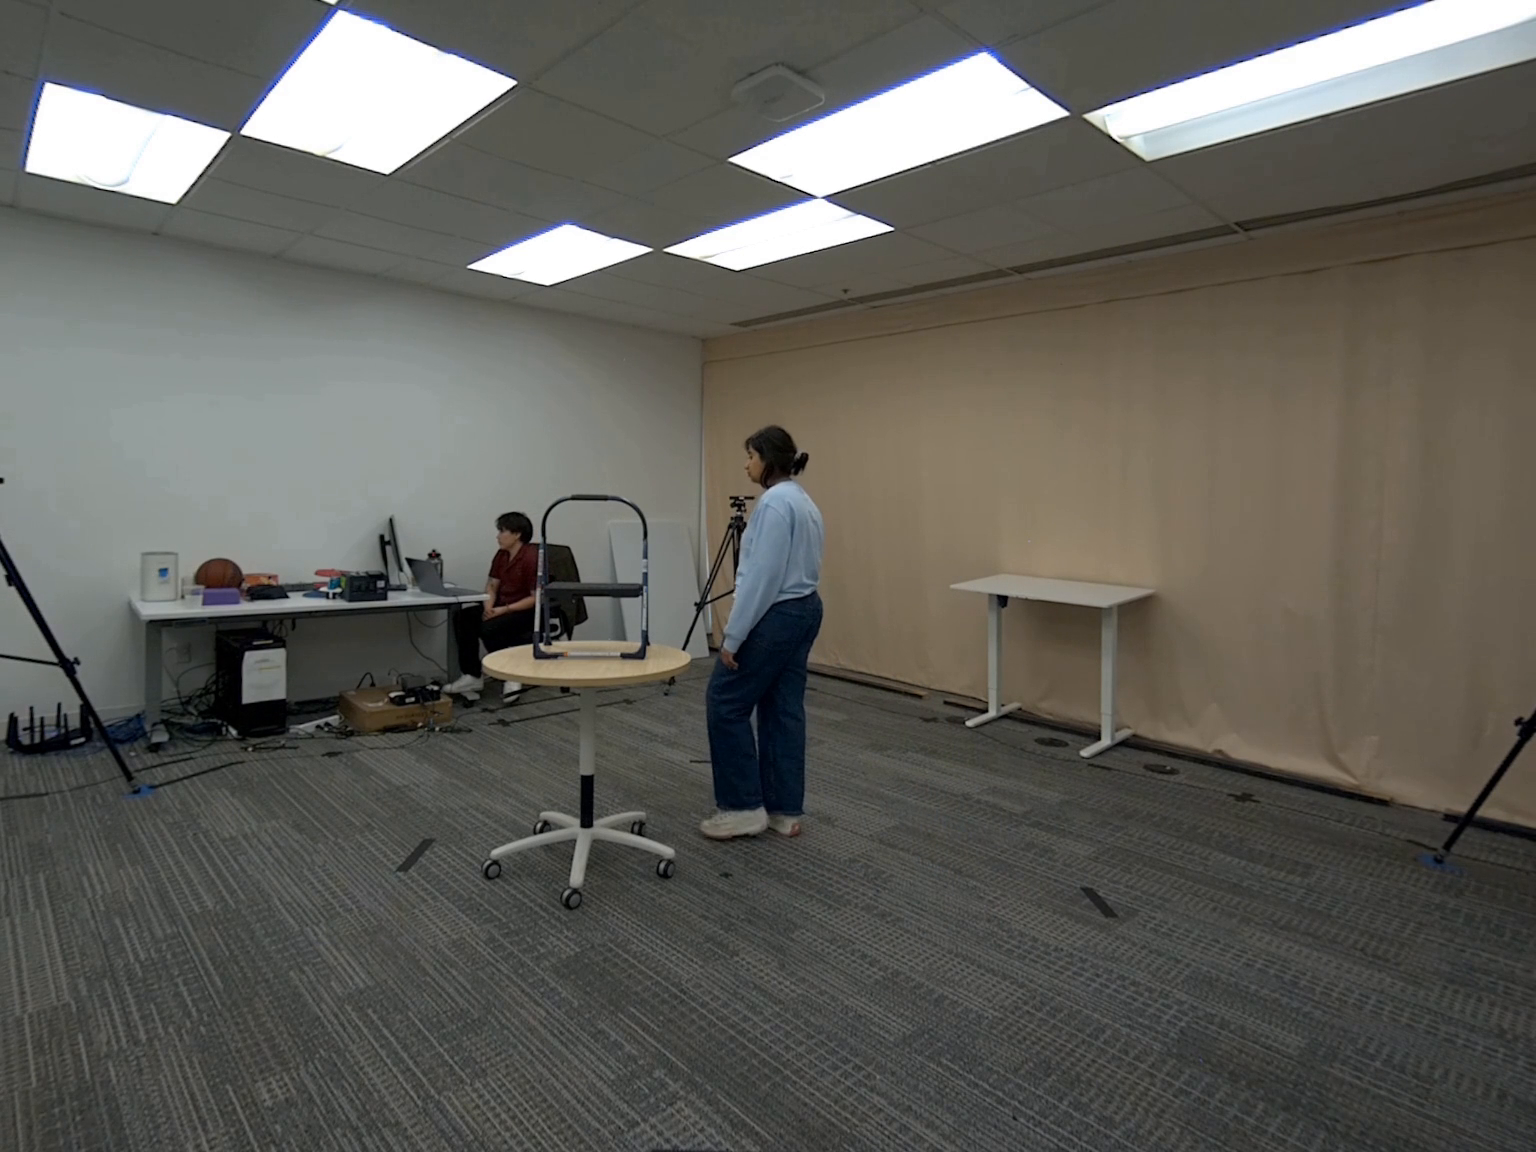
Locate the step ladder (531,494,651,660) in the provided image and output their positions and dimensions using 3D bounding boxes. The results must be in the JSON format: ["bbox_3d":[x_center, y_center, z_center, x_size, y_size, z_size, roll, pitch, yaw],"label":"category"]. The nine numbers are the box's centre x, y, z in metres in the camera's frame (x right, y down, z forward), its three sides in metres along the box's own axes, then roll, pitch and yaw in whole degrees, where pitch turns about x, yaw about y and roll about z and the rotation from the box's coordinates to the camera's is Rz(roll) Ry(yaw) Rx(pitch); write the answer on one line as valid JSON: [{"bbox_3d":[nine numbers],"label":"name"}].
[{"bbox_3d":[-0.680,-0.006,3.249,0.428,0.605,0.351,1,2,-6],"label":"step ladder"}]
